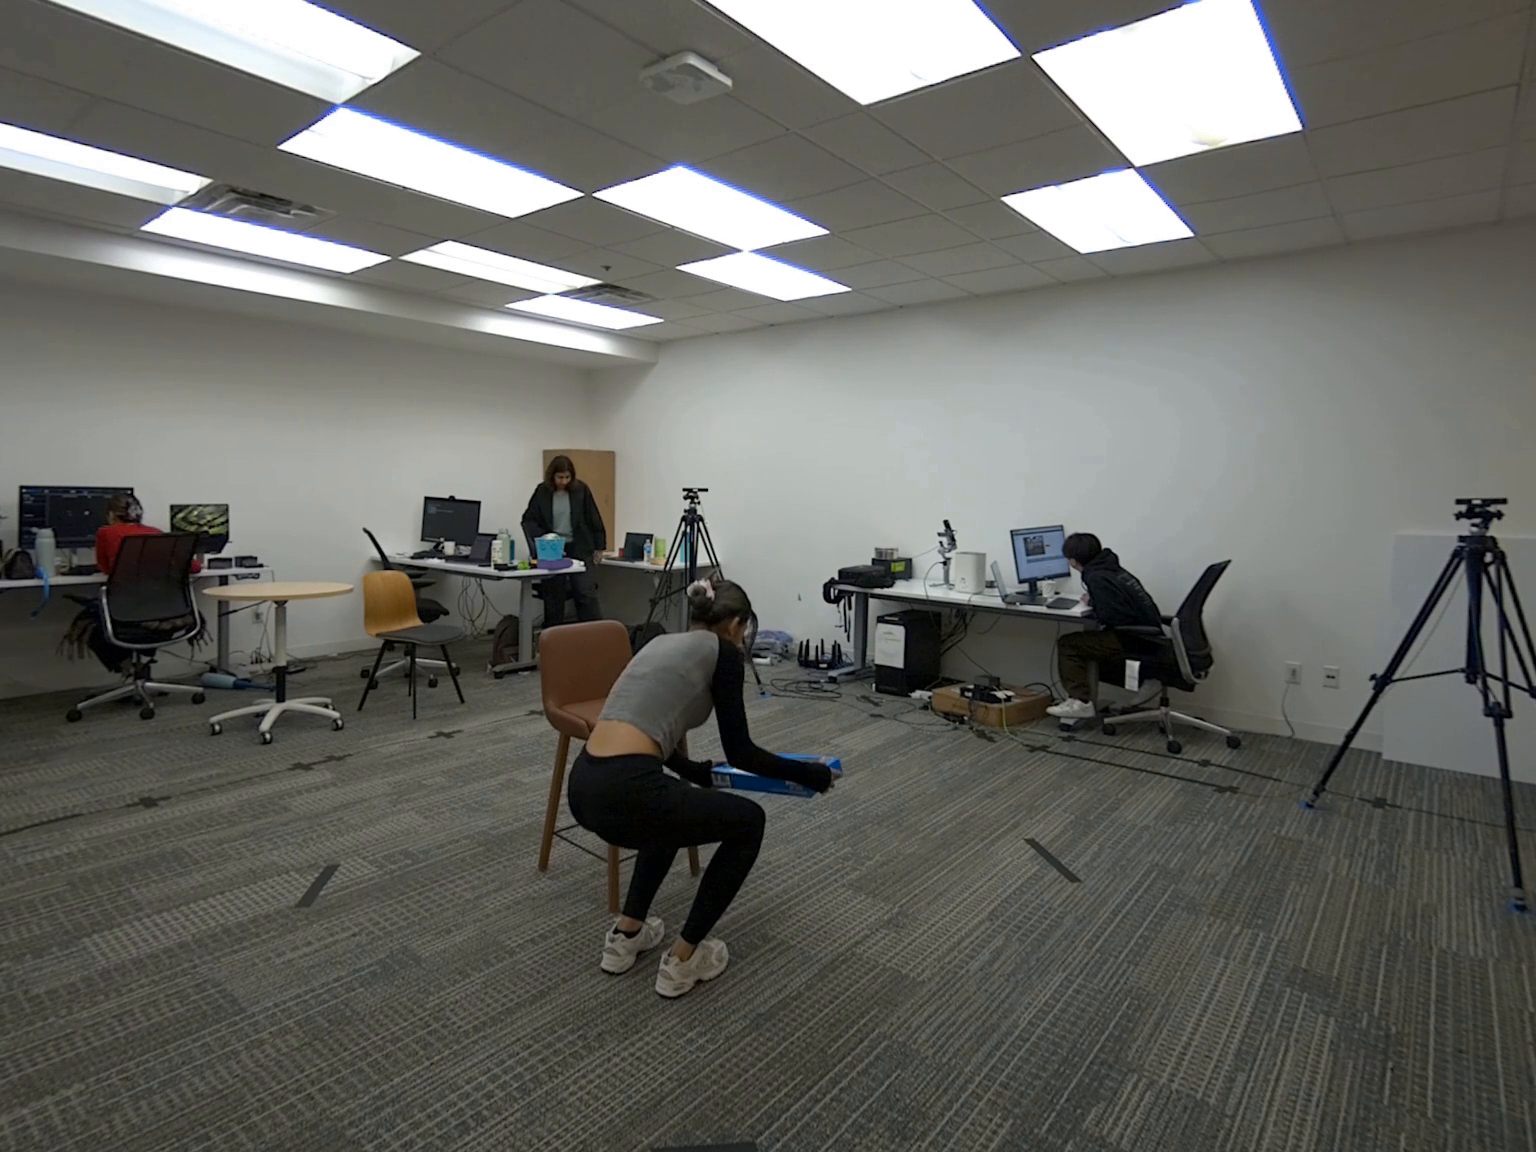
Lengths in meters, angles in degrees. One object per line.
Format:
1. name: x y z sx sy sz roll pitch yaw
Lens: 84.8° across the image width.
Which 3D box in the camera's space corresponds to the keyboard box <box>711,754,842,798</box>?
1. keyboard box: 0.006 0.638 2.744 0.449 0.059 0.172 -7 8 44
